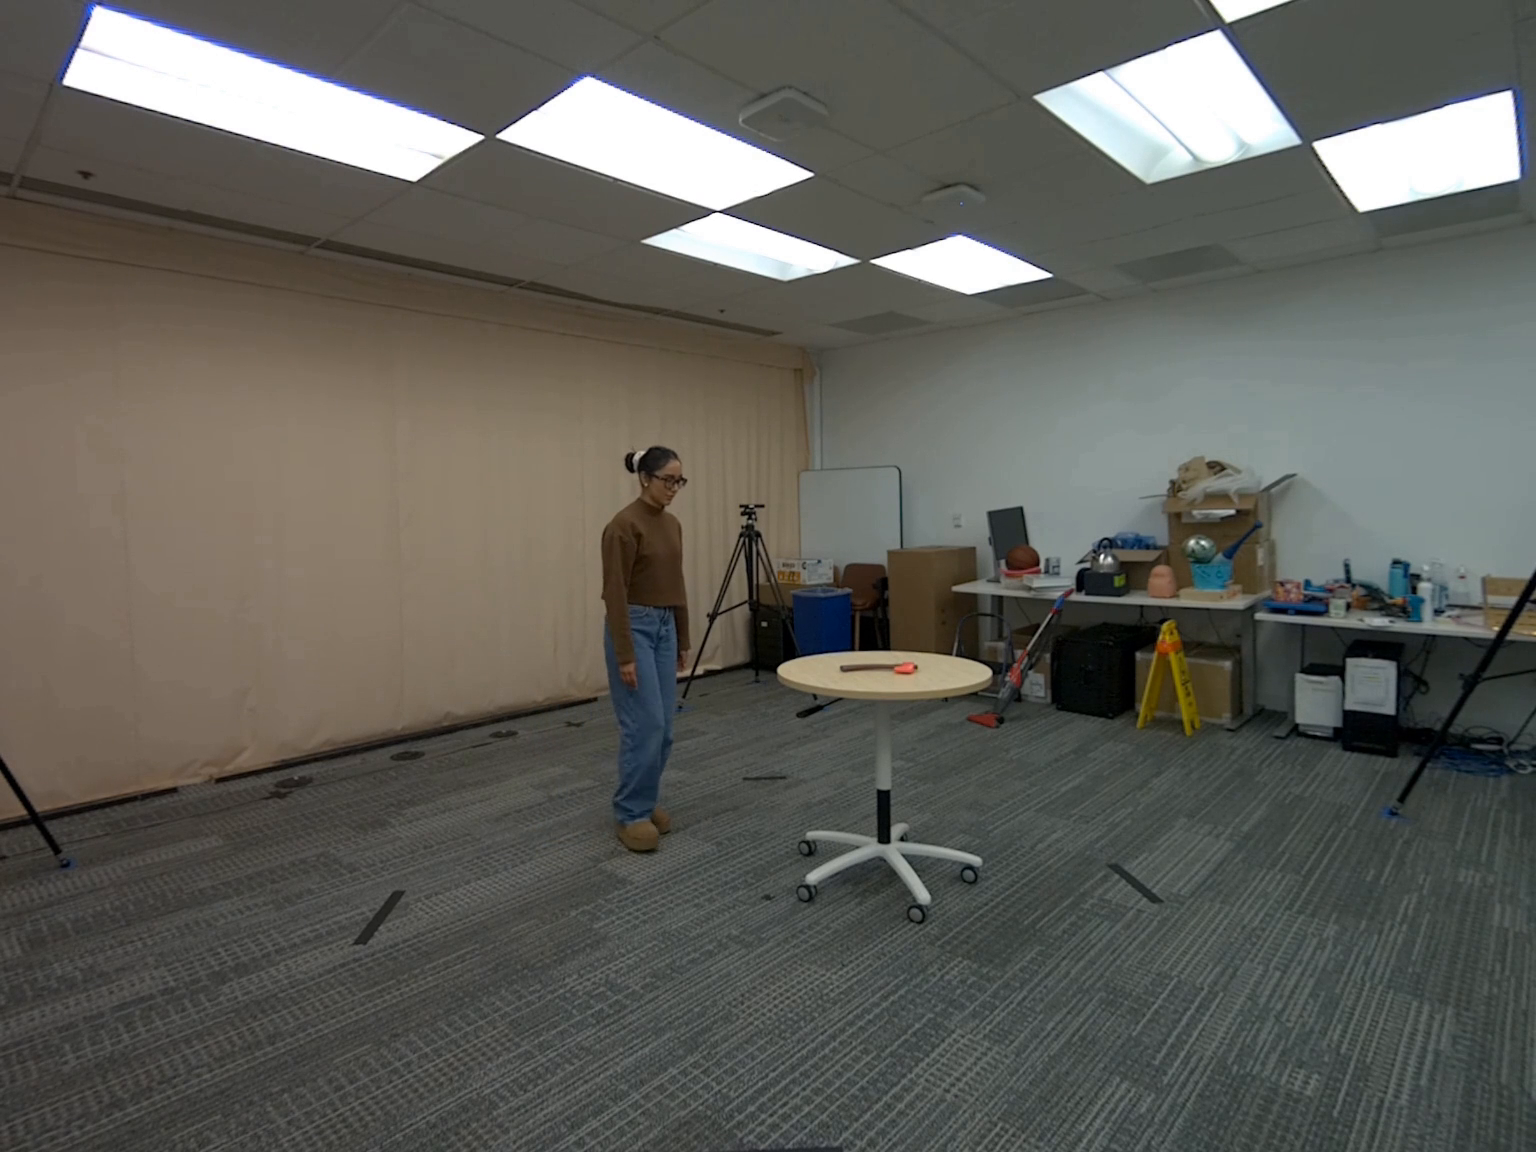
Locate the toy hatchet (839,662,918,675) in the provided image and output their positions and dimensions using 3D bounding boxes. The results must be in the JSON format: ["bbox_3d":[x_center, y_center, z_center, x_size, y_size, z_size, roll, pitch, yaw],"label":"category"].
[{"bbox_3d":[0.414,0.338,3.010,0.269,0.029,0.132,-4,8,-5],"label":"toy hatchet"}]
